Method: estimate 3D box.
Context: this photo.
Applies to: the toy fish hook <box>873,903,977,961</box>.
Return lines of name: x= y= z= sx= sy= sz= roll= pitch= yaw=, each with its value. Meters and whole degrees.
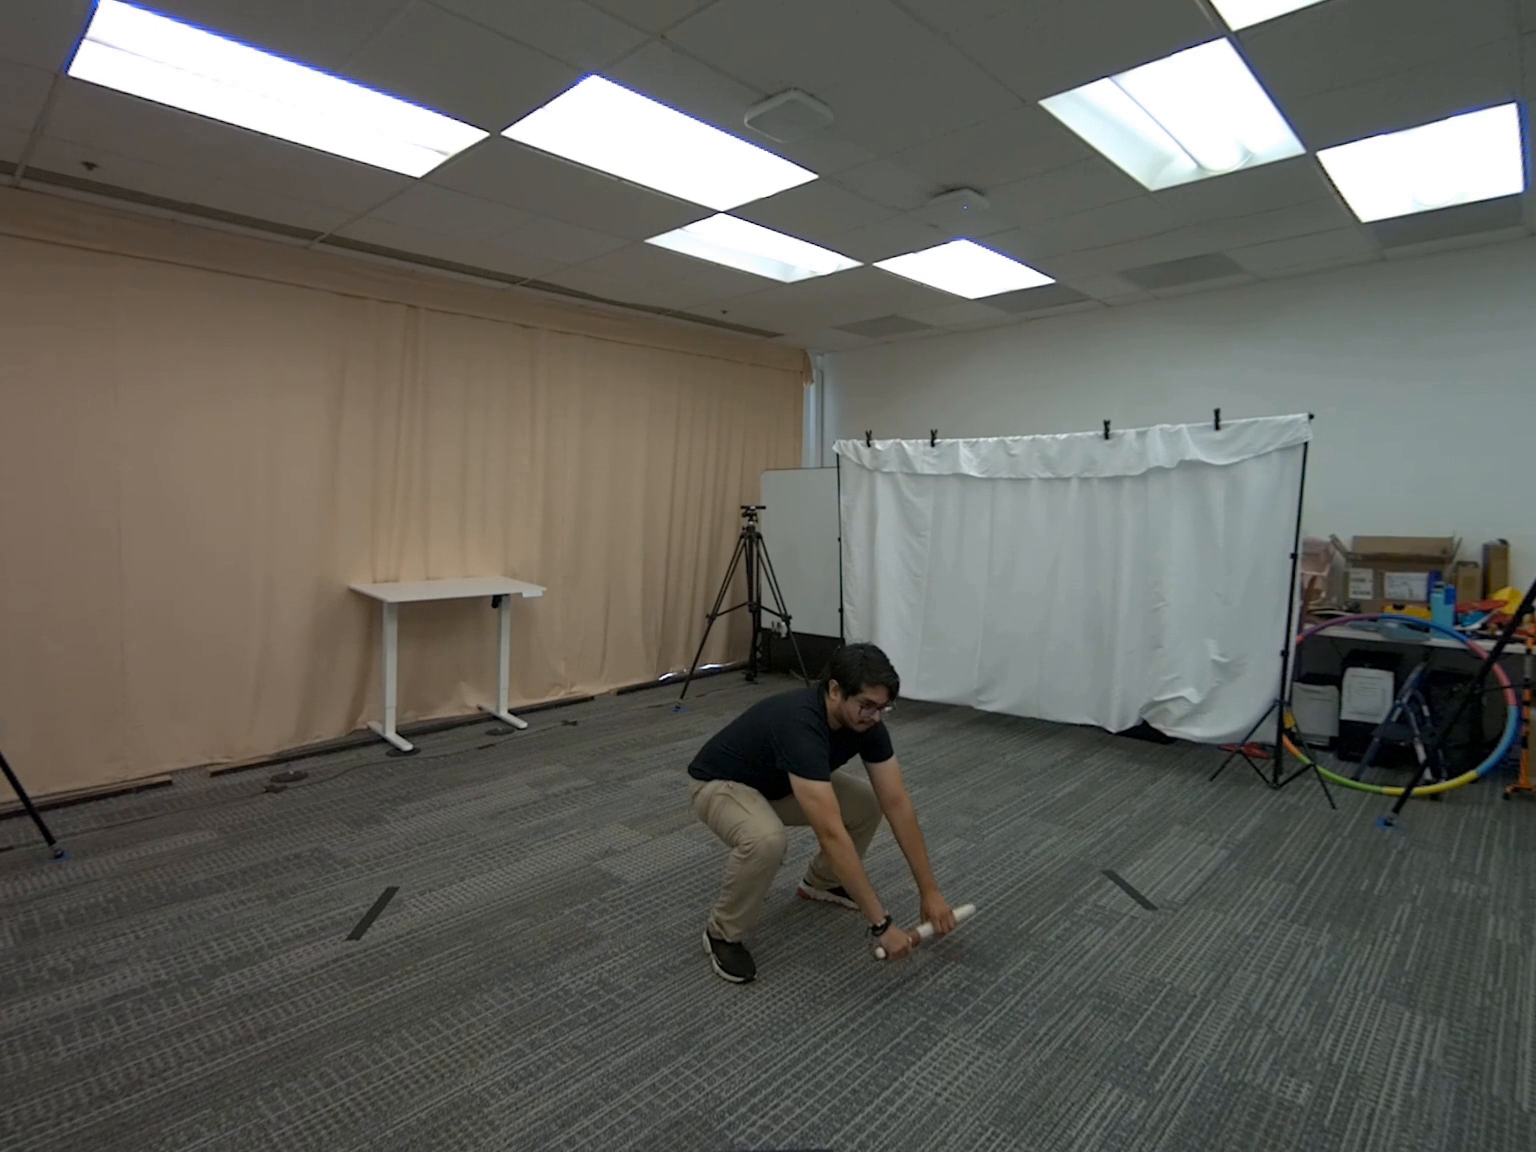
toy fish hook: x=0.443 y=1.086 z=2.496 sx=0.490 sy=0.049 sz=0.226 roll=1 pitch=-41 yaw=-45
